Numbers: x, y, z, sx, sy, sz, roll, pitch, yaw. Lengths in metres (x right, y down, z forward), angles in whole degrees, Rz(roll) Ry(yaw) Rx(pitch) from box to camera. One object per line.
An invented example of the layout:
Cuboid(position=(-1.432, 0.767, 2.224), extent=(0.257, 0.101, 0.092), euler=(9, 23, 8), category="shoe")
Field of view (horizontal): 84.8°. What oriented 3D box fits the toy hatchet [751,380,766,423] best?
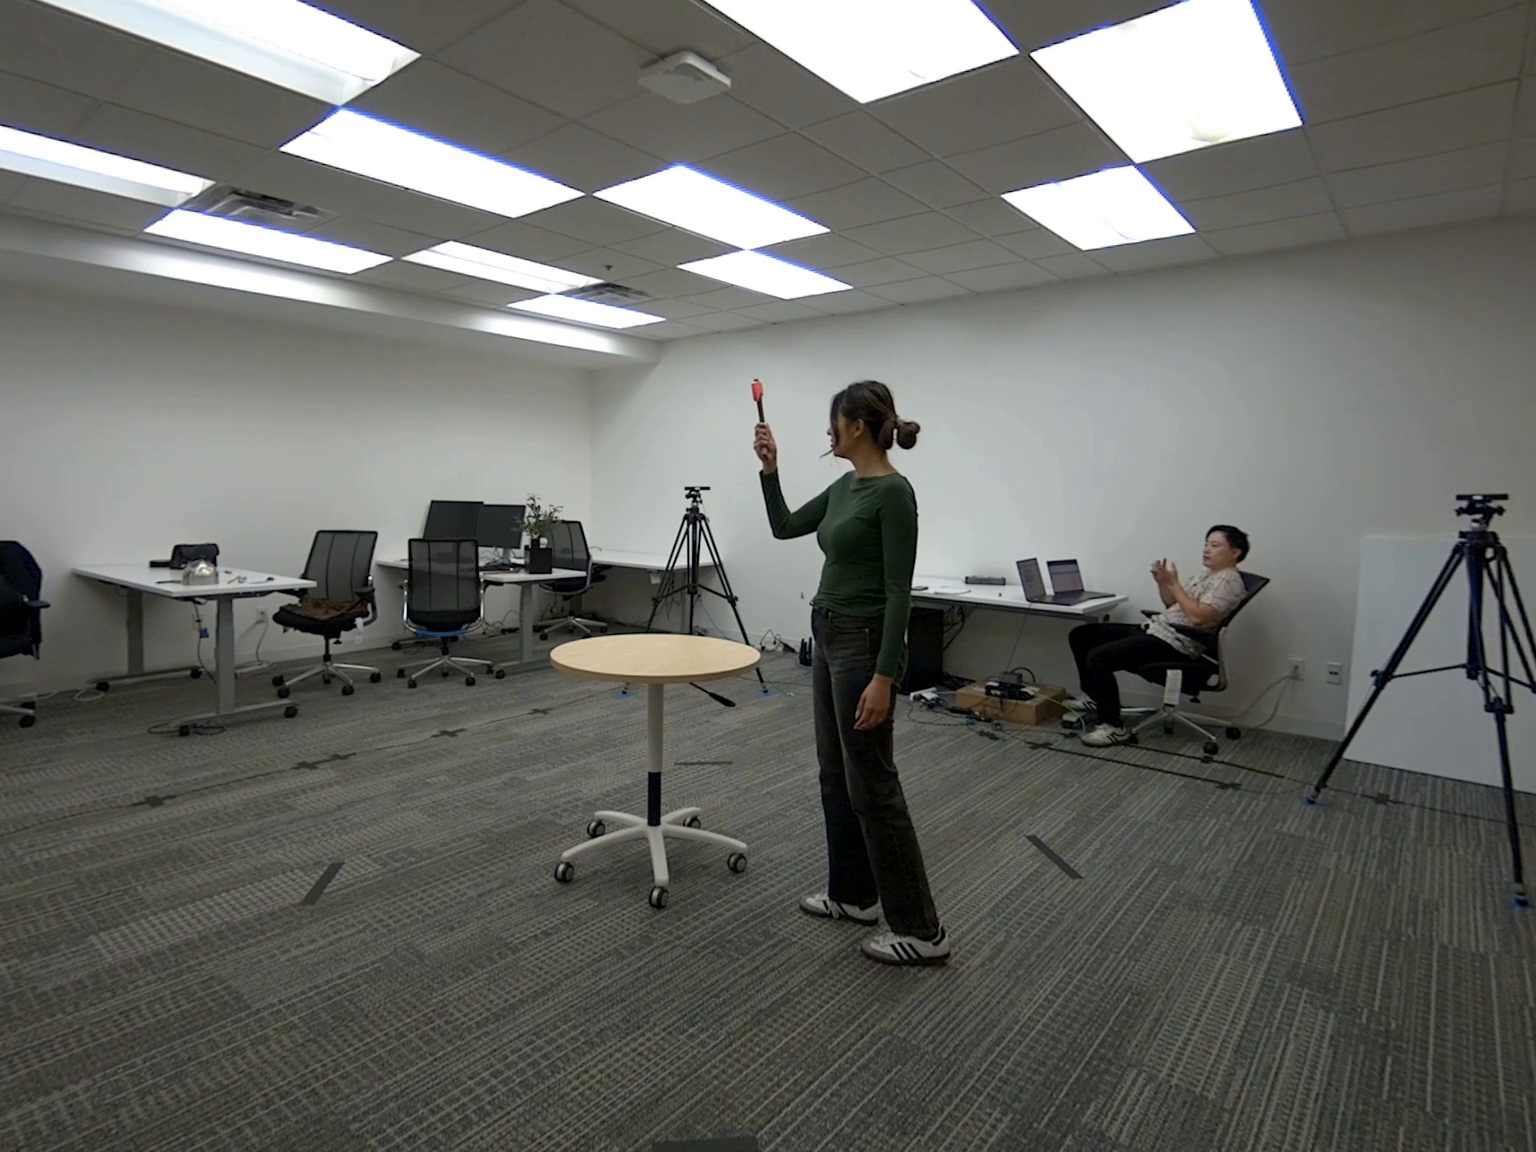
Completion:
Cuboid(position=(-0.032, -0.524, 2.778), extent=(0.030, 0.275, 0.128), euler=(-10, -18, 3), category="toy hatchet")
